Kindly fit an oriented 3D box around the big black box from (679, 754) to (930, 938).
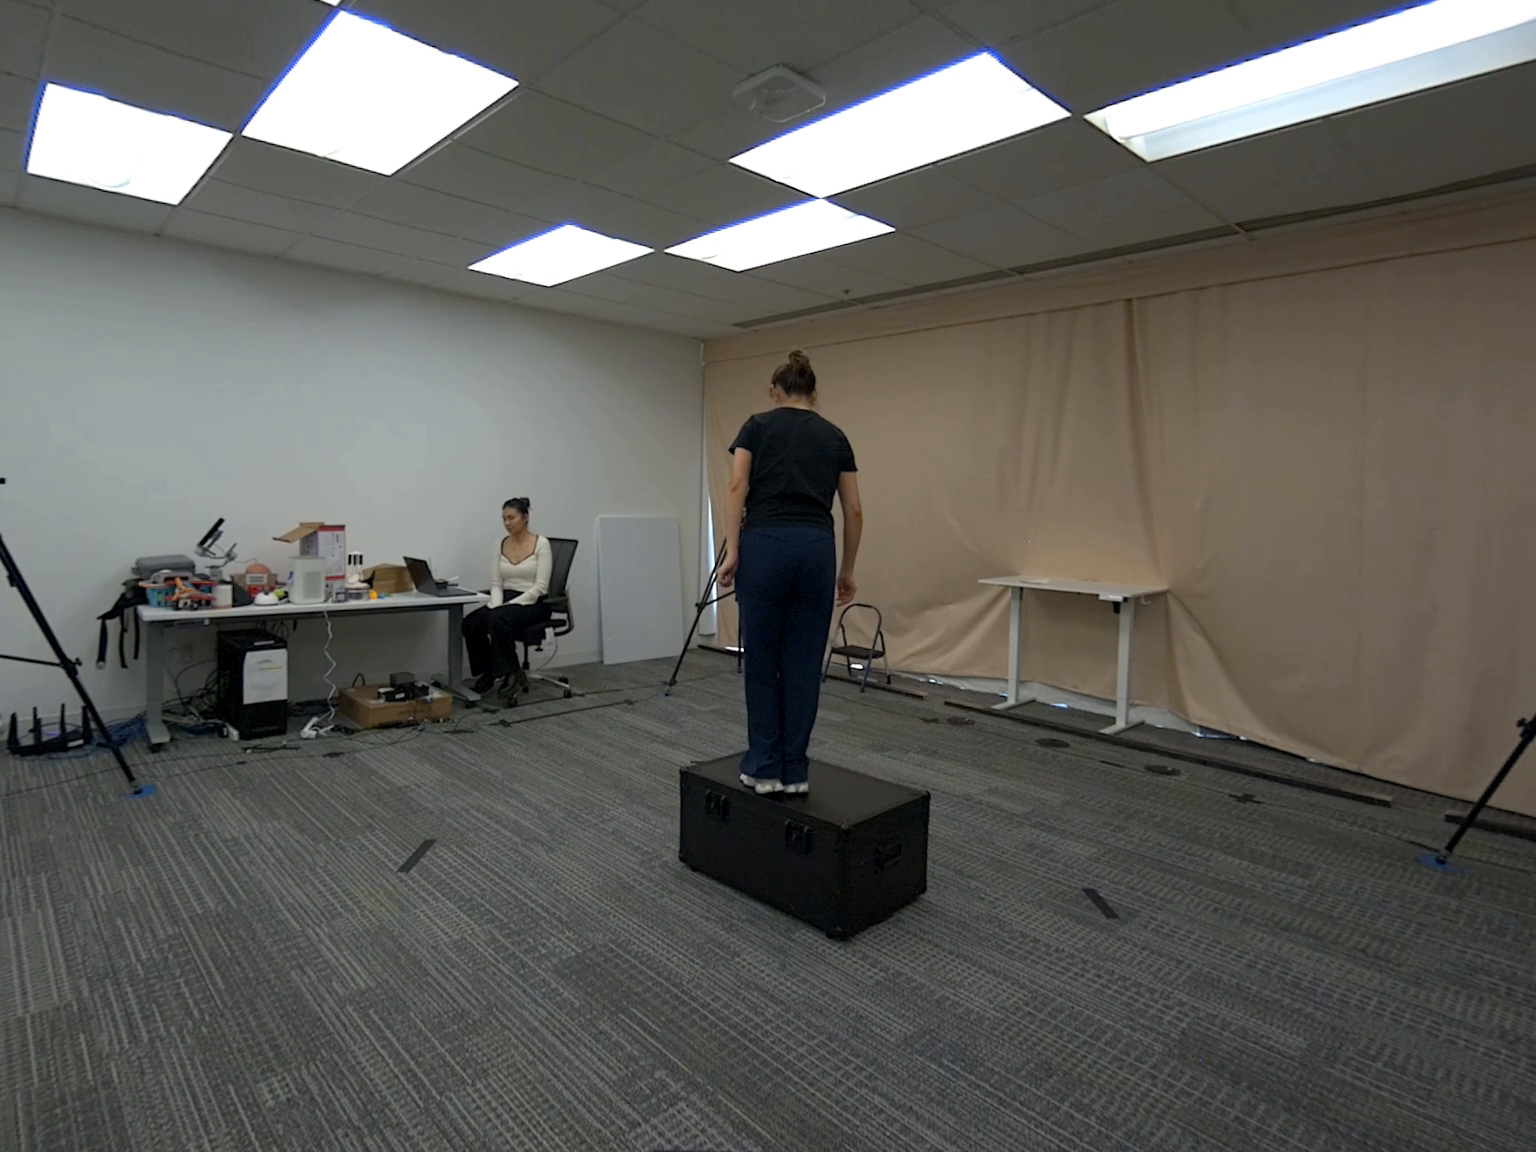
[{"bbox_3d":[0.089,0.926,3.072,0.884,0.395,0.509,6,6,43],"label":"big black box"}]
